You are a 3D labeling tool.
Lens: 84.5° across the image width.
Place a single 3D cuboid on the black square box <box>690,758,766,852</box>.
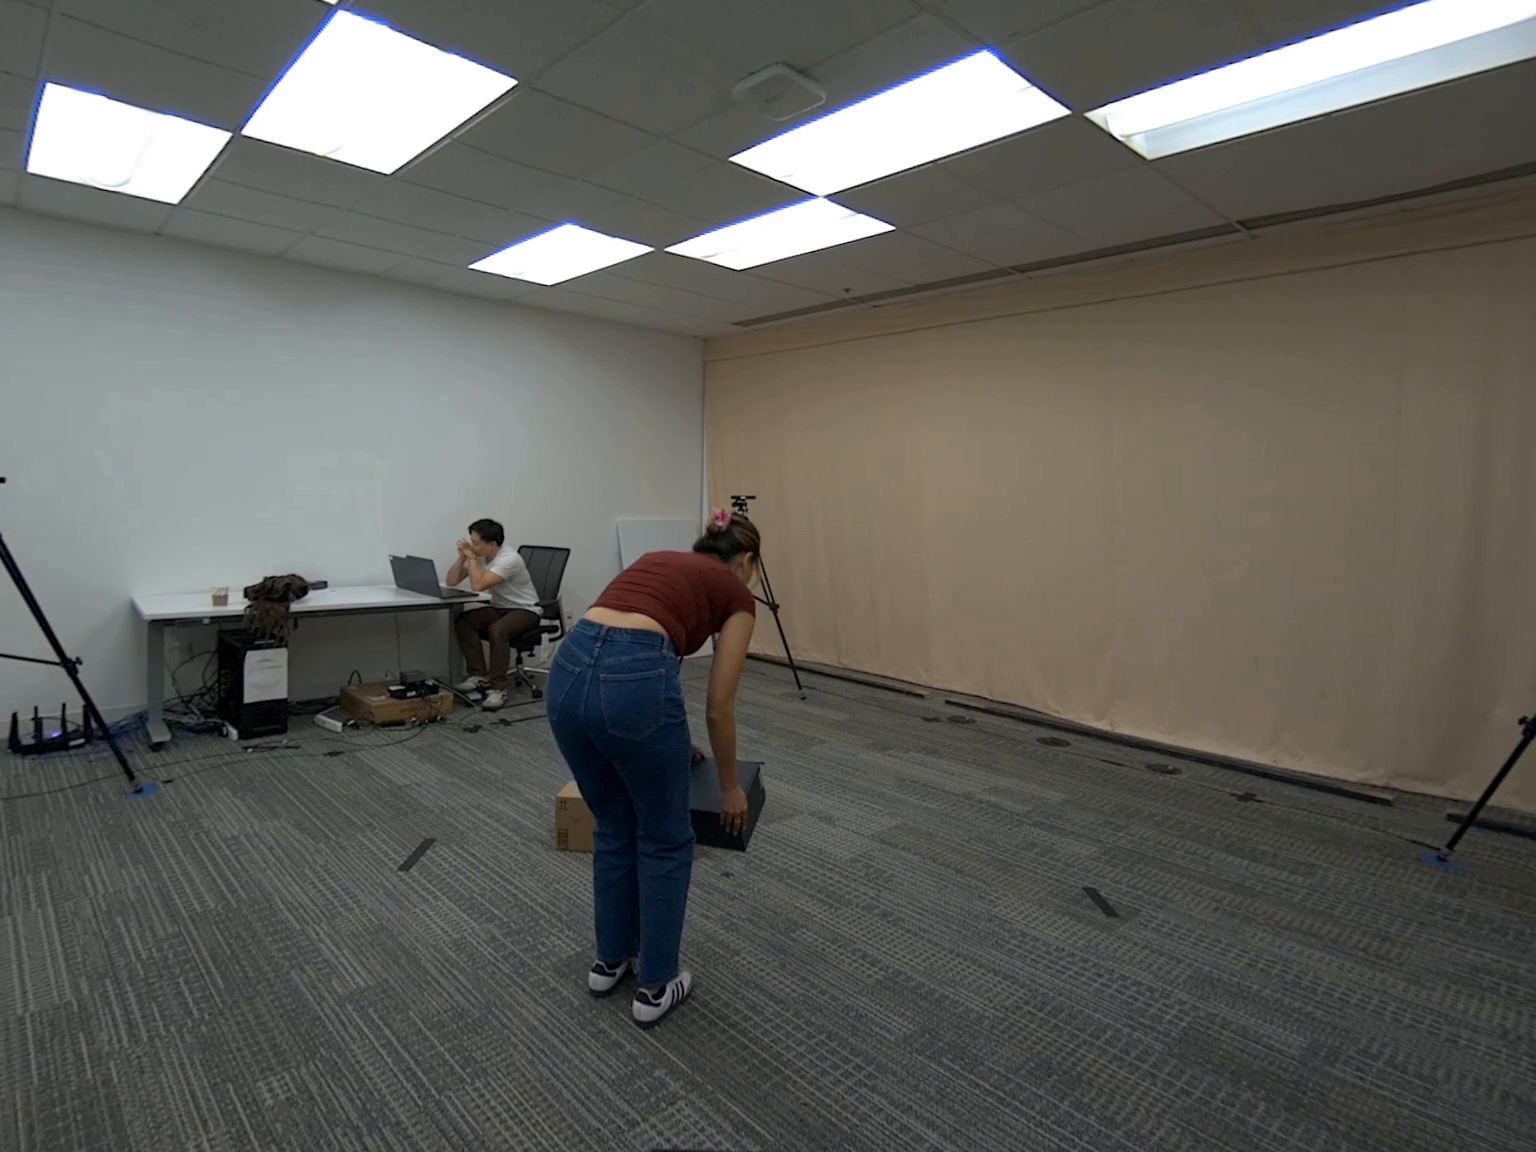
[{"bbox_3d":[-0.155,0.691,2.580,0.232,0.152,0.218,2,32,21],"label":"black square box"}]
